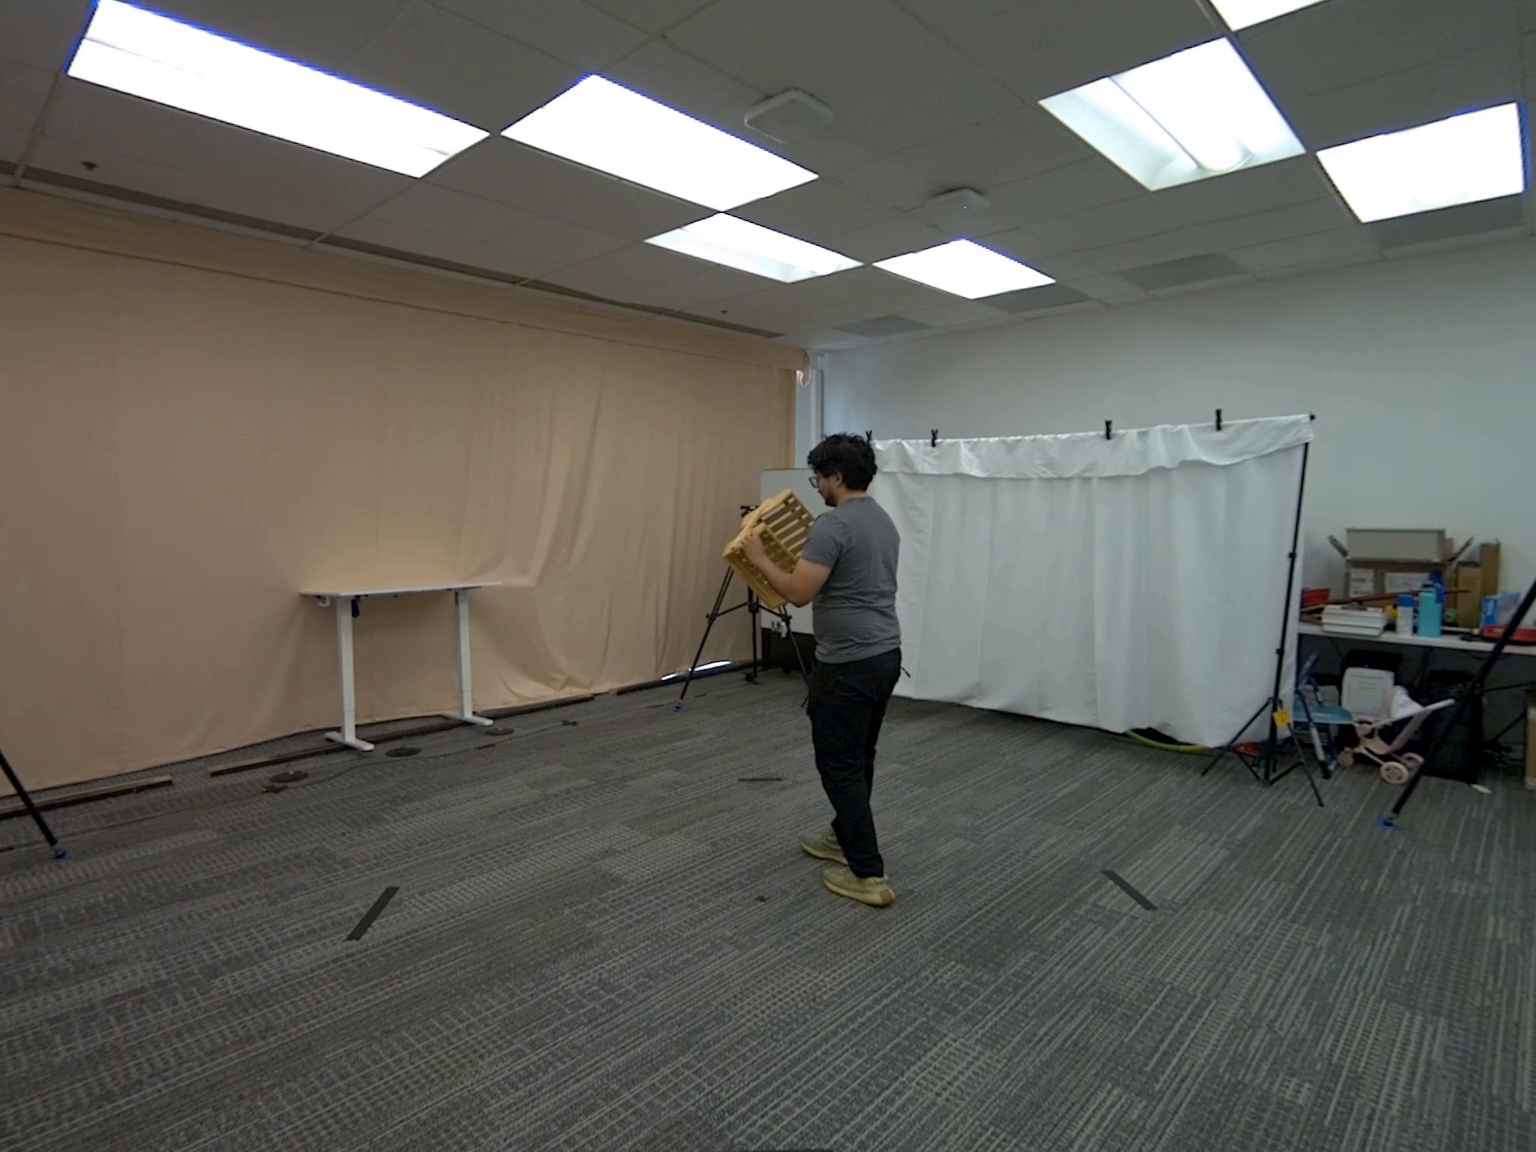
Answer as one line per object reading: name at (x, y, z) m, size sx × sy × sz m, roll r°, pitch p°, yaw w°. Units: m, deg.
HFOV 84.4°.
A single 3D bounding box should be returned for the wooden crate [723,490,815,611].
wooden crate at (0.054, -0.102, 3.280) m, size 0.306 × 0.318 × 0.275 m, roll -32°, pitch 21°, yaw 30°
